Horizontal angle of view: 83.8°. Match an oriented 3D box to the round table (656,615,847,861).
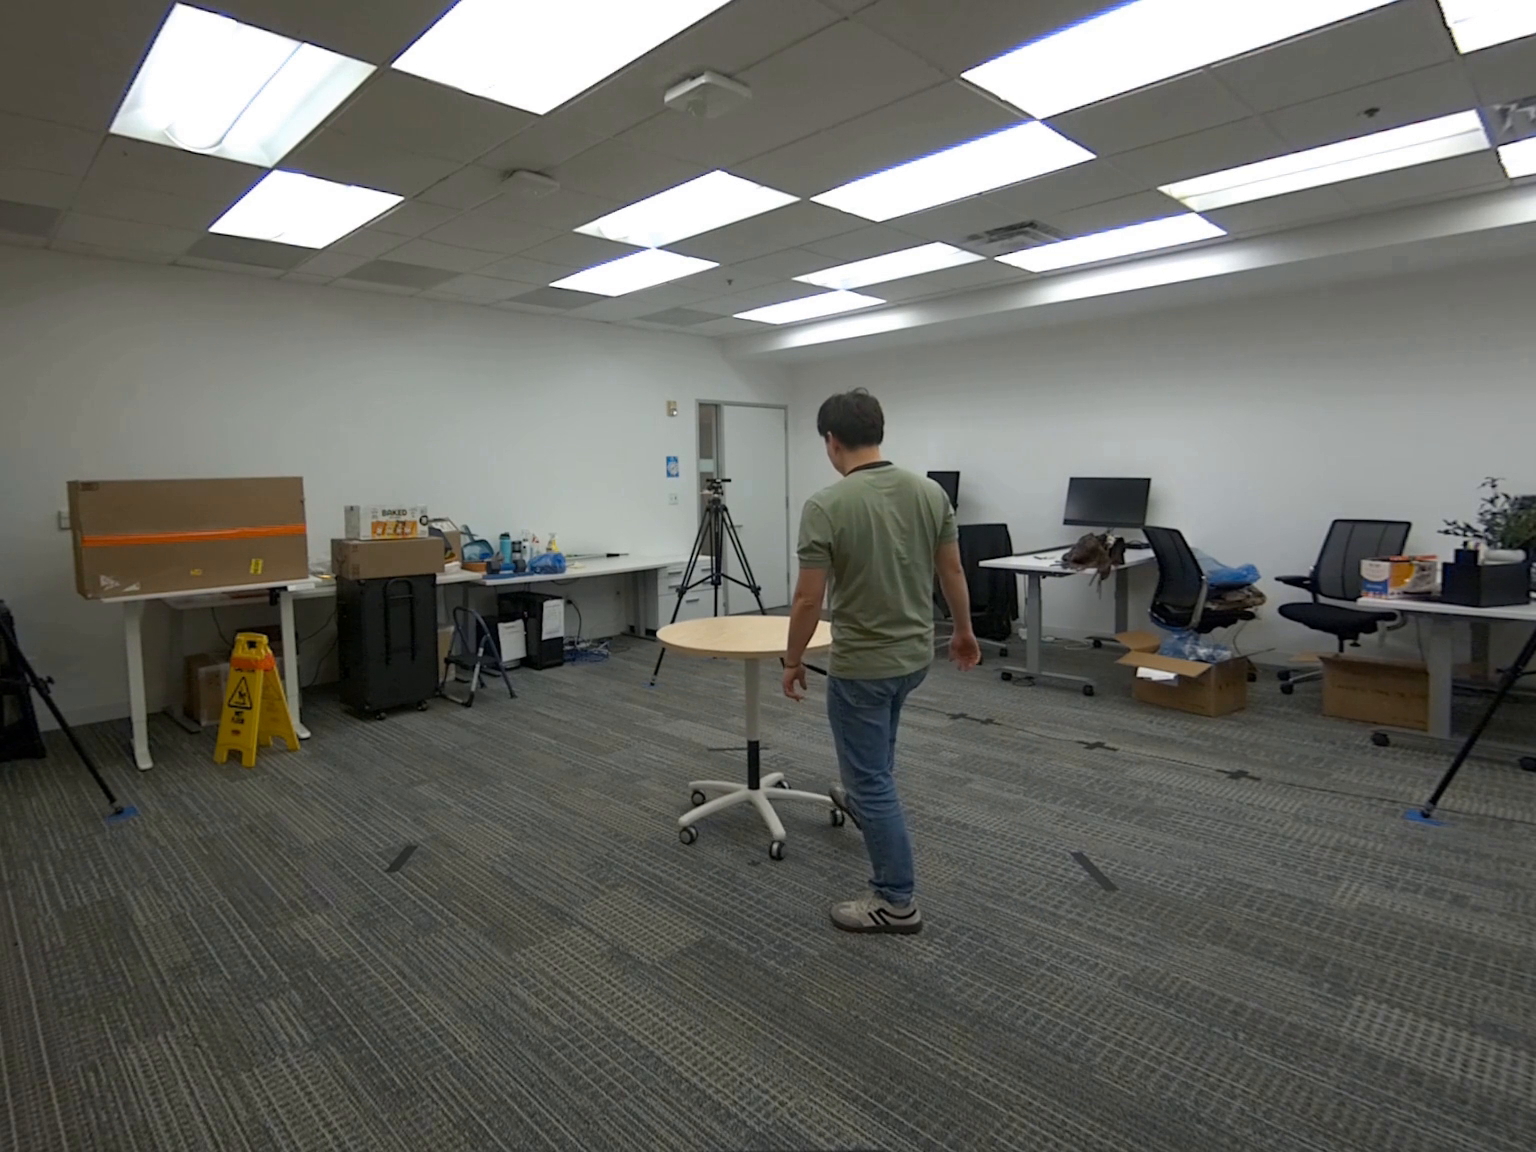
[{"bbox_3d":[-0.062,0.615,3.452,0.763,0.791,0.768,-1,5,-2],"label":"round table"}]
